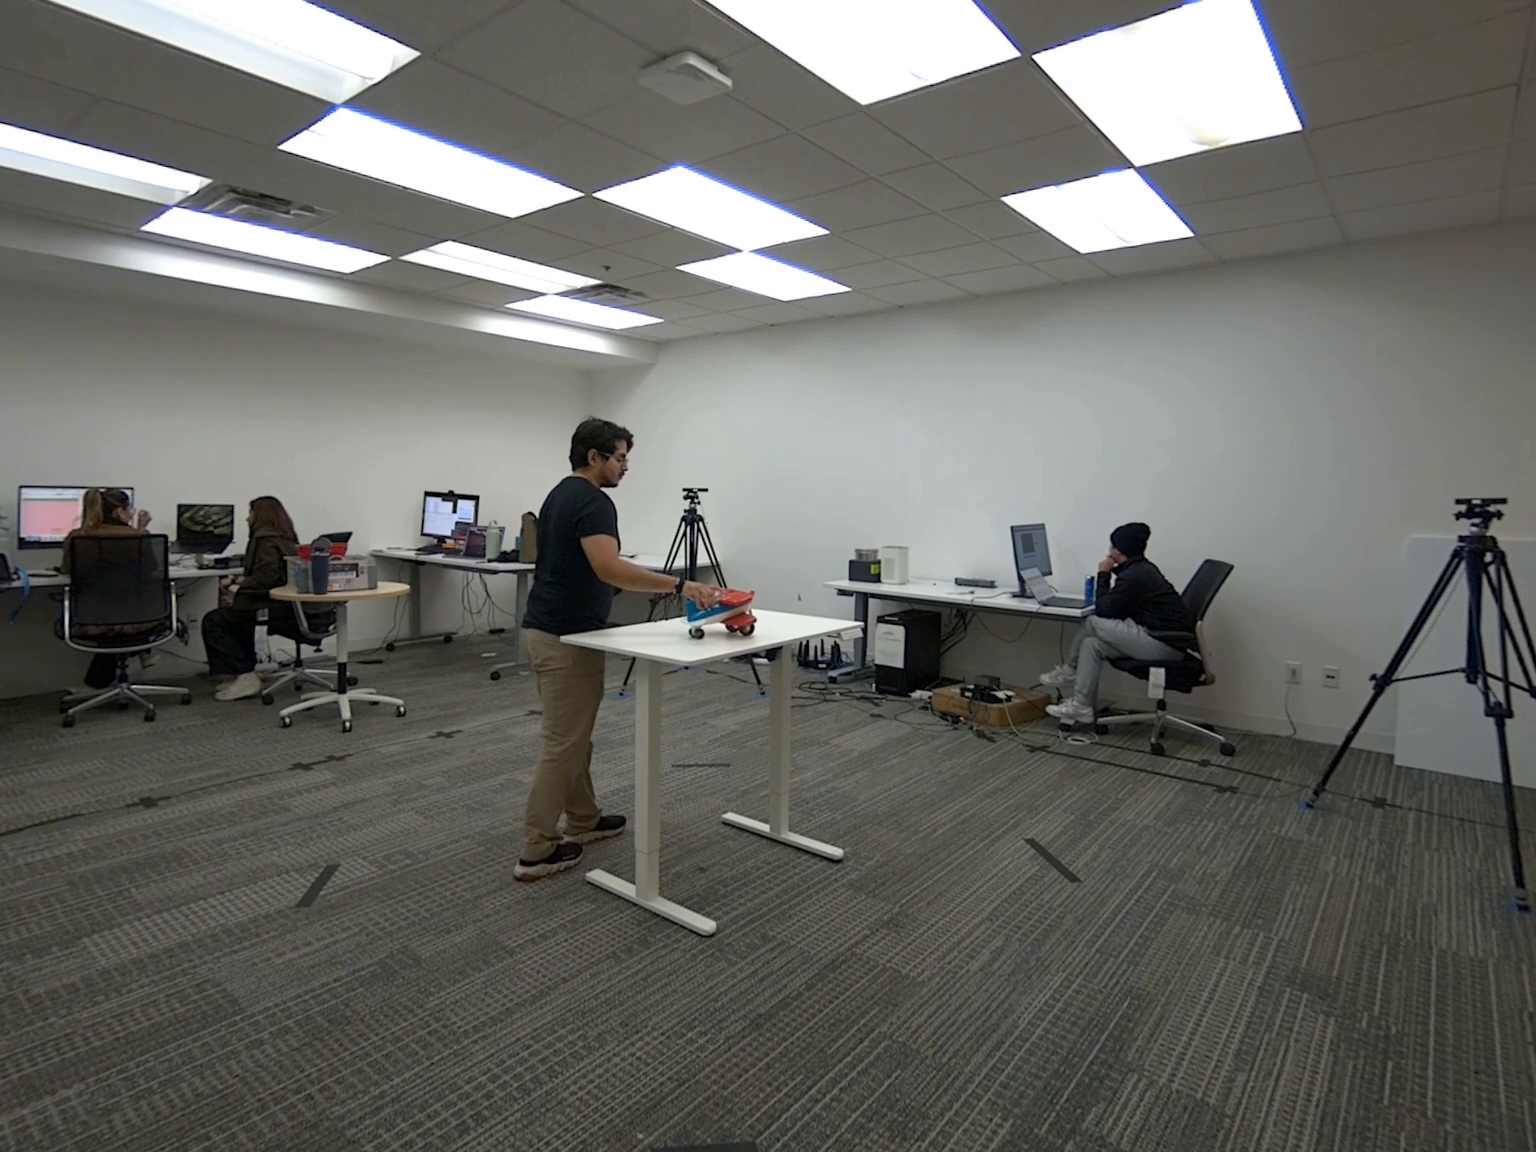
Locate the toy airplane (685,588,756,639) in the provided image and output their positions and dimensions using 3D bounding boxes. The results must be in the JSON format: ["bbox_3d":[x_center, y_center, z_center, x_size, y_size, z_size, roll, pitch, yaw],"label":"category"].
[{"bbox_3d":[-0.166,0.129,2.927,0.258,0.156,0.253,2,5,30],"label":"toy airplane"}]
